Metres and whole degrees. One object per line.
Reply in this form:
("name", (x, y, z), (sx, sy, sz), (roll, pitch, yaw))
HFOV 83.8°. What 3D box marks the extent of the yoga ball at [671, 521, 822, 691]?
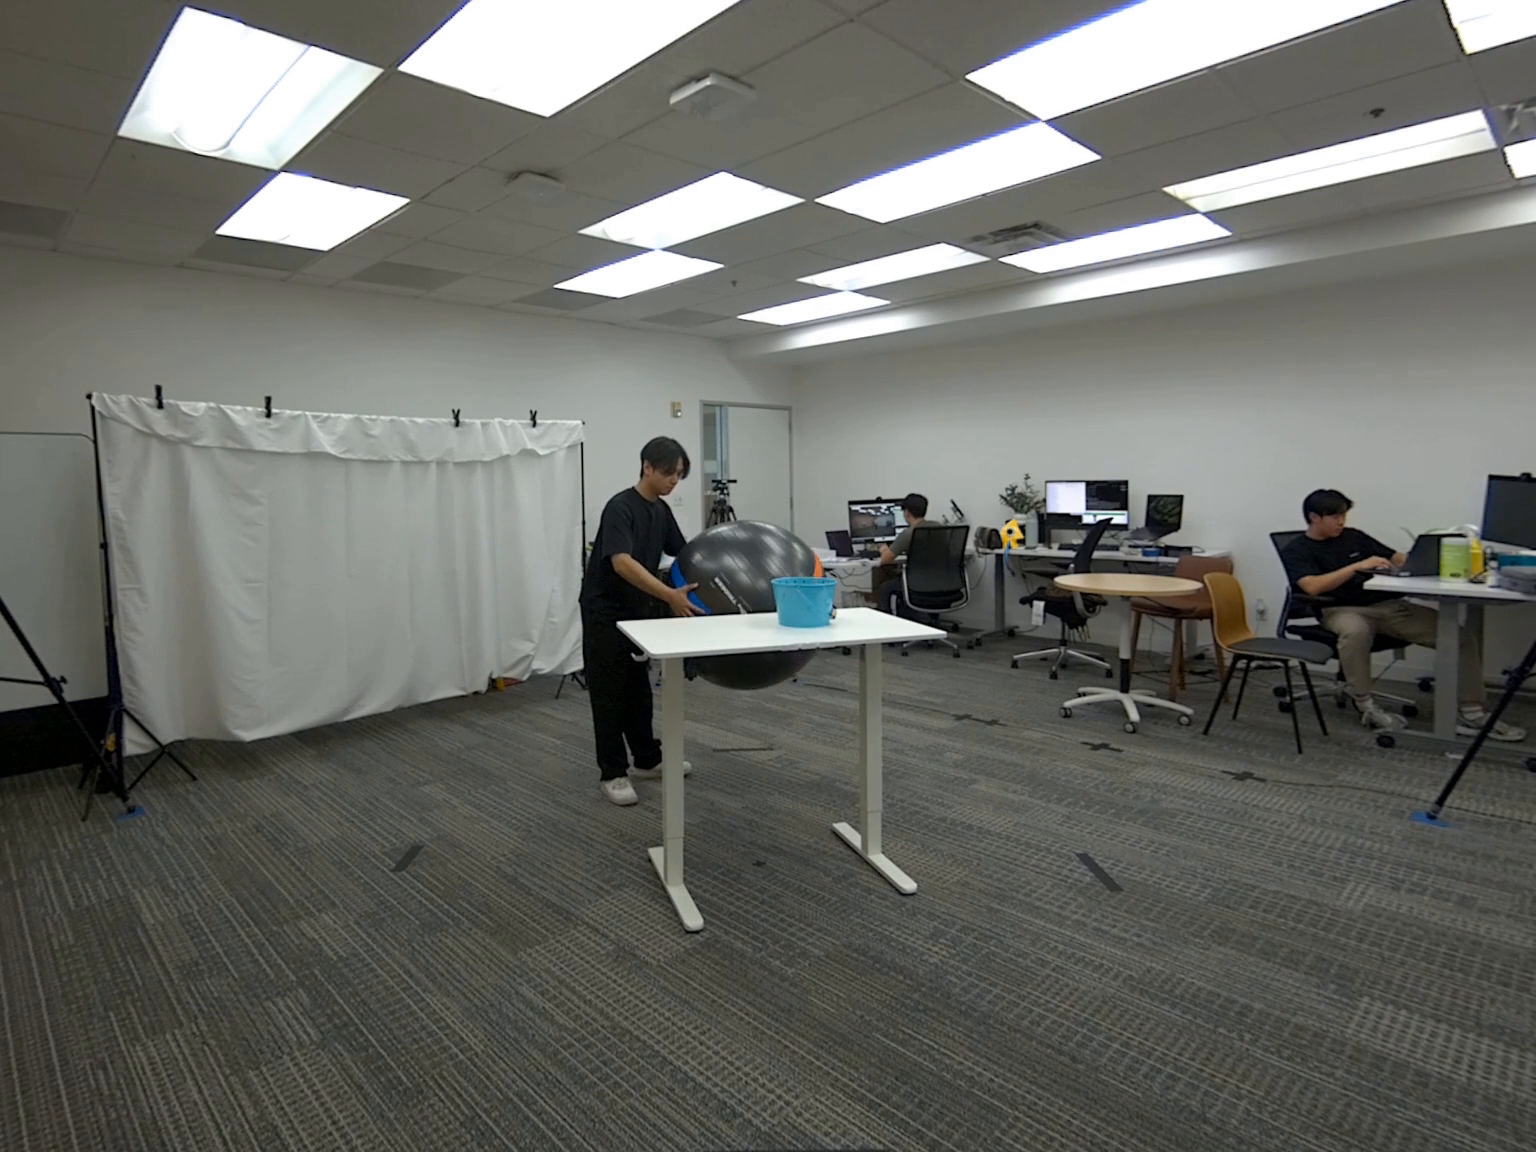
("yoga ball", (-0.099, 0.133, 3.846), (0.757, 0.755, 0.762), (-1, 5, -2))
